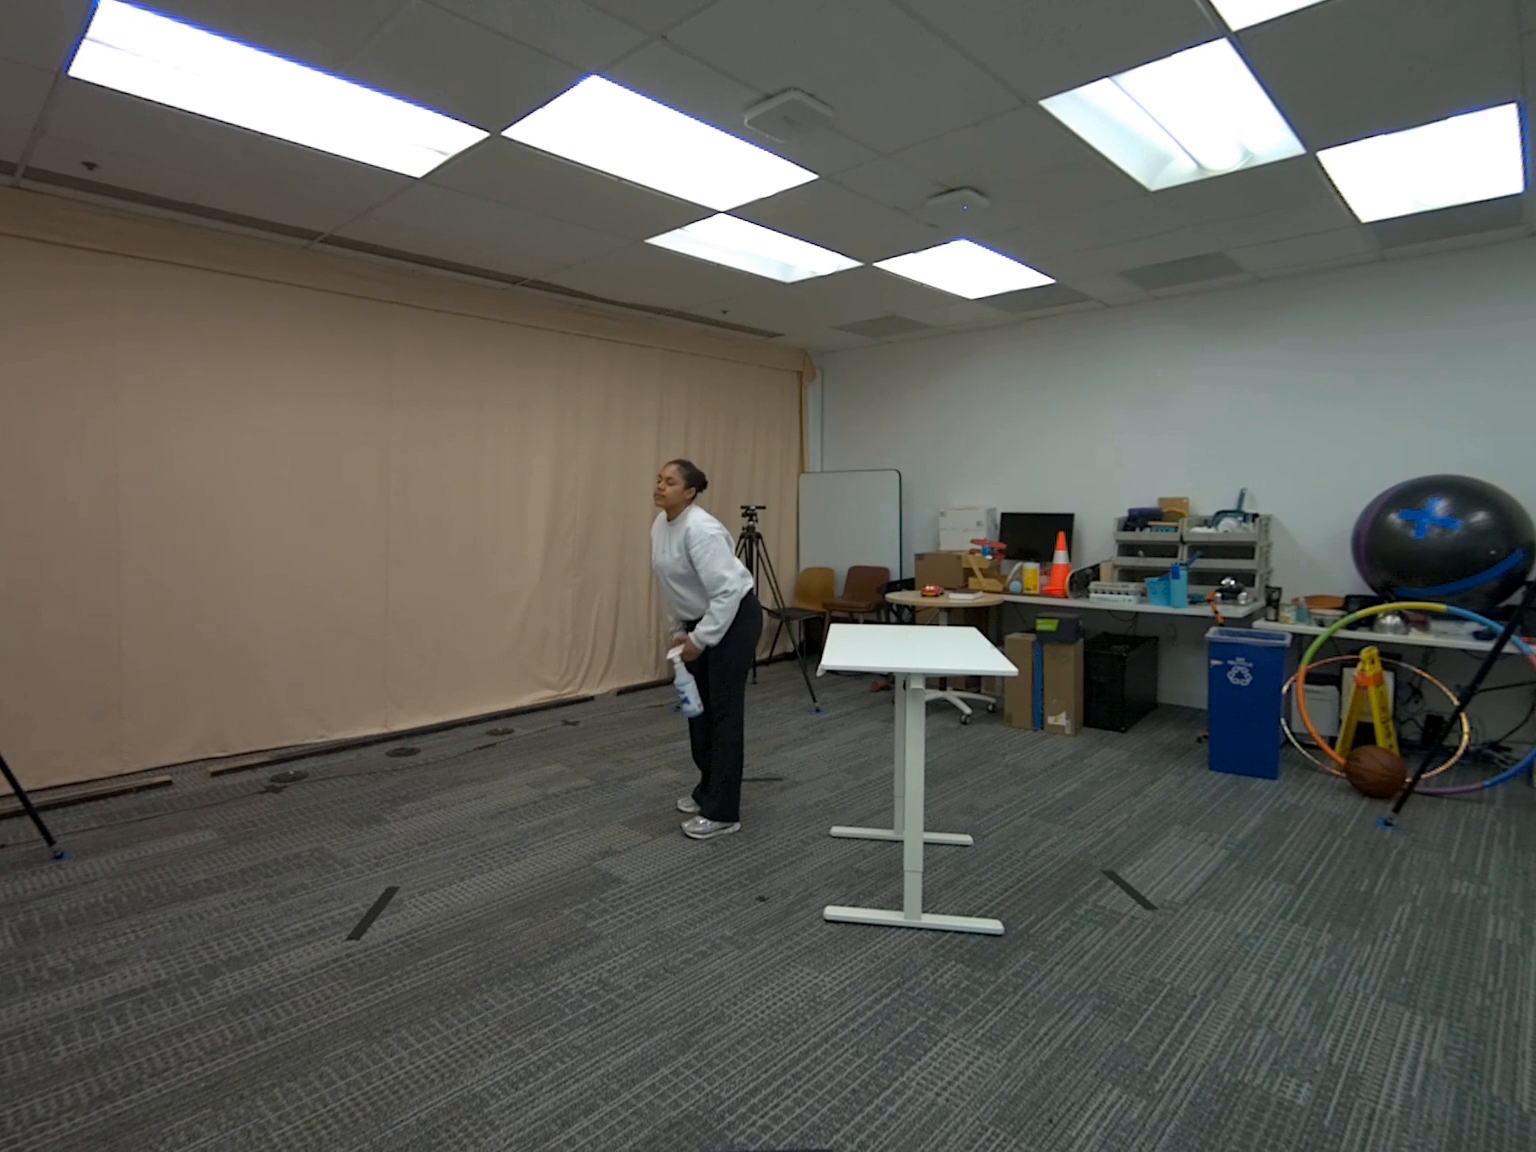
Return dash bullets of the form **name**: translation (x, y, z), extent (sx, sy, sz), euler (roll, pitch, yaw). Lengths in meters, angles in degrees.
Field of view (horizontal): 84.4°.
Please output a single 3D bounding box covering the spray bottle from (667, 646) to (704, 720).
- **spray bottle**: translation (-0.351, 0.446, 3.561), extent (0.091, 0.295, 0.087), euler (-13, 10, 8)
